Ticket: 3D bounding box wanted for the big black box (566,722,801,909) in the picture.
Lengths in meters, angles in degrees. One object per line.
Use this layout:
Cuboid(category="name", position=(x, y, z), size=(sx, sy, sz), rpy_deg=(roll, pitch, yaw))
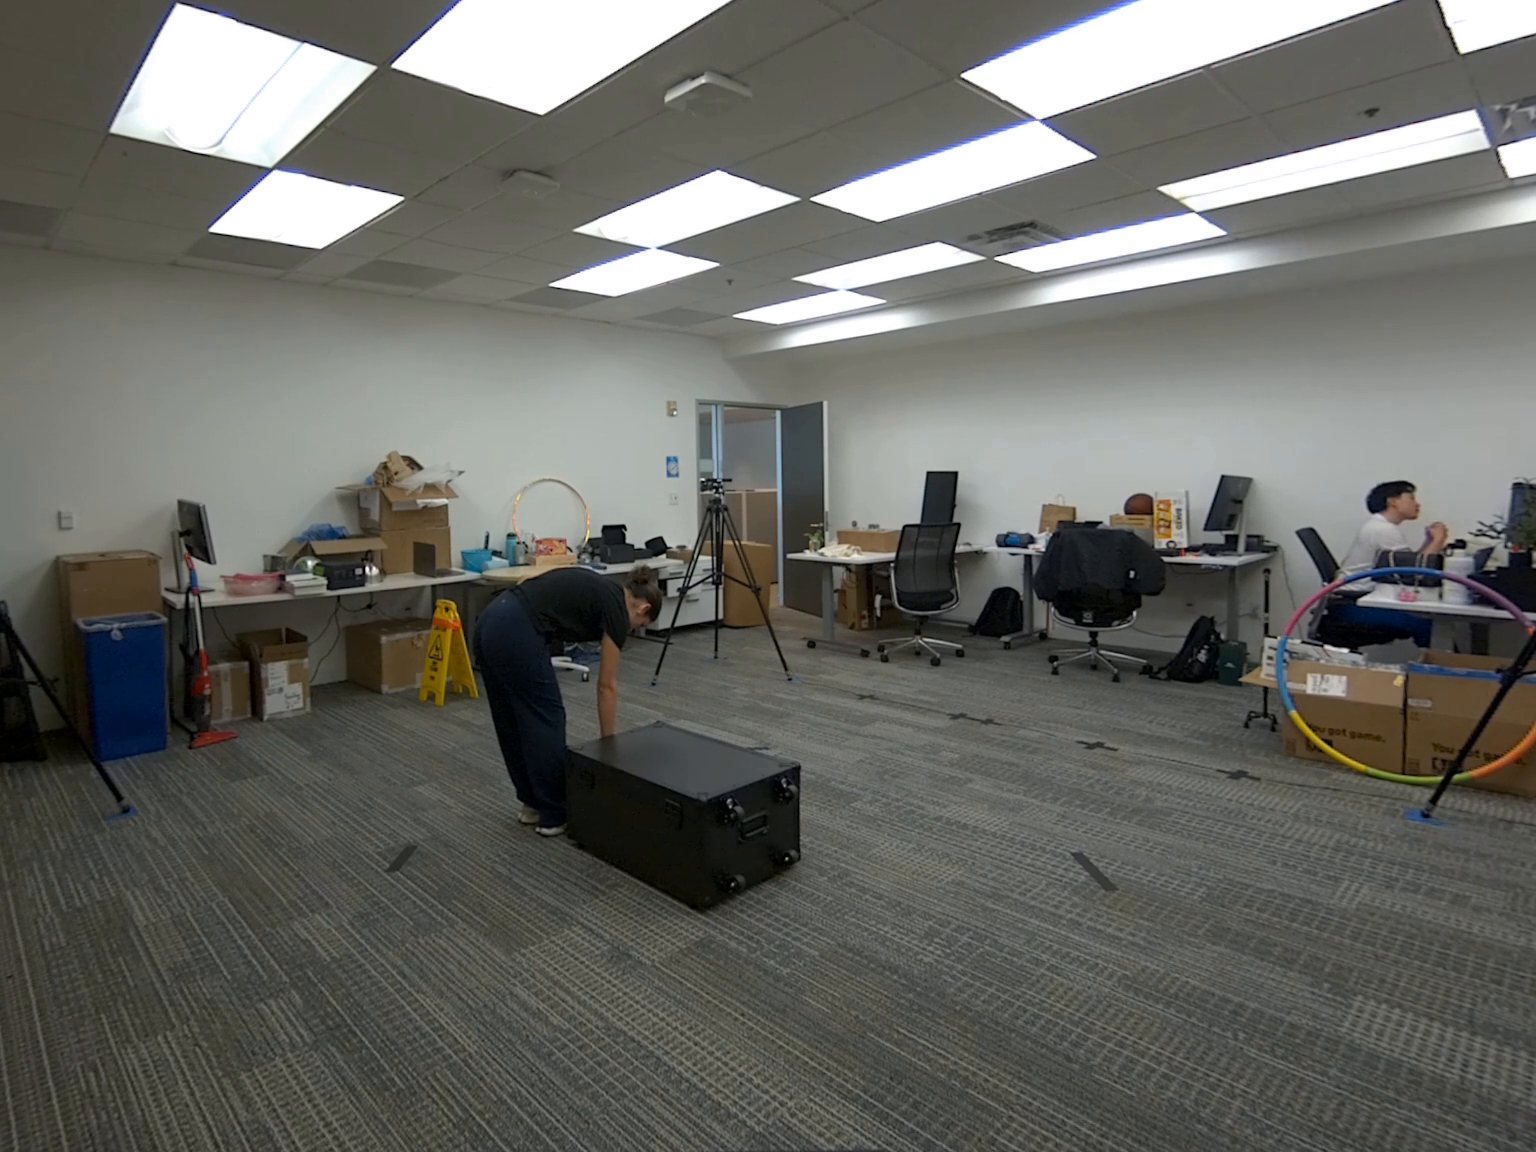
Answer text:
Cuboid(category="big black box", position=(-0.303, 0.836, 3.159), size=(0.888, 0.394, 0.507), rpy_deg=(5, 8, 44))
